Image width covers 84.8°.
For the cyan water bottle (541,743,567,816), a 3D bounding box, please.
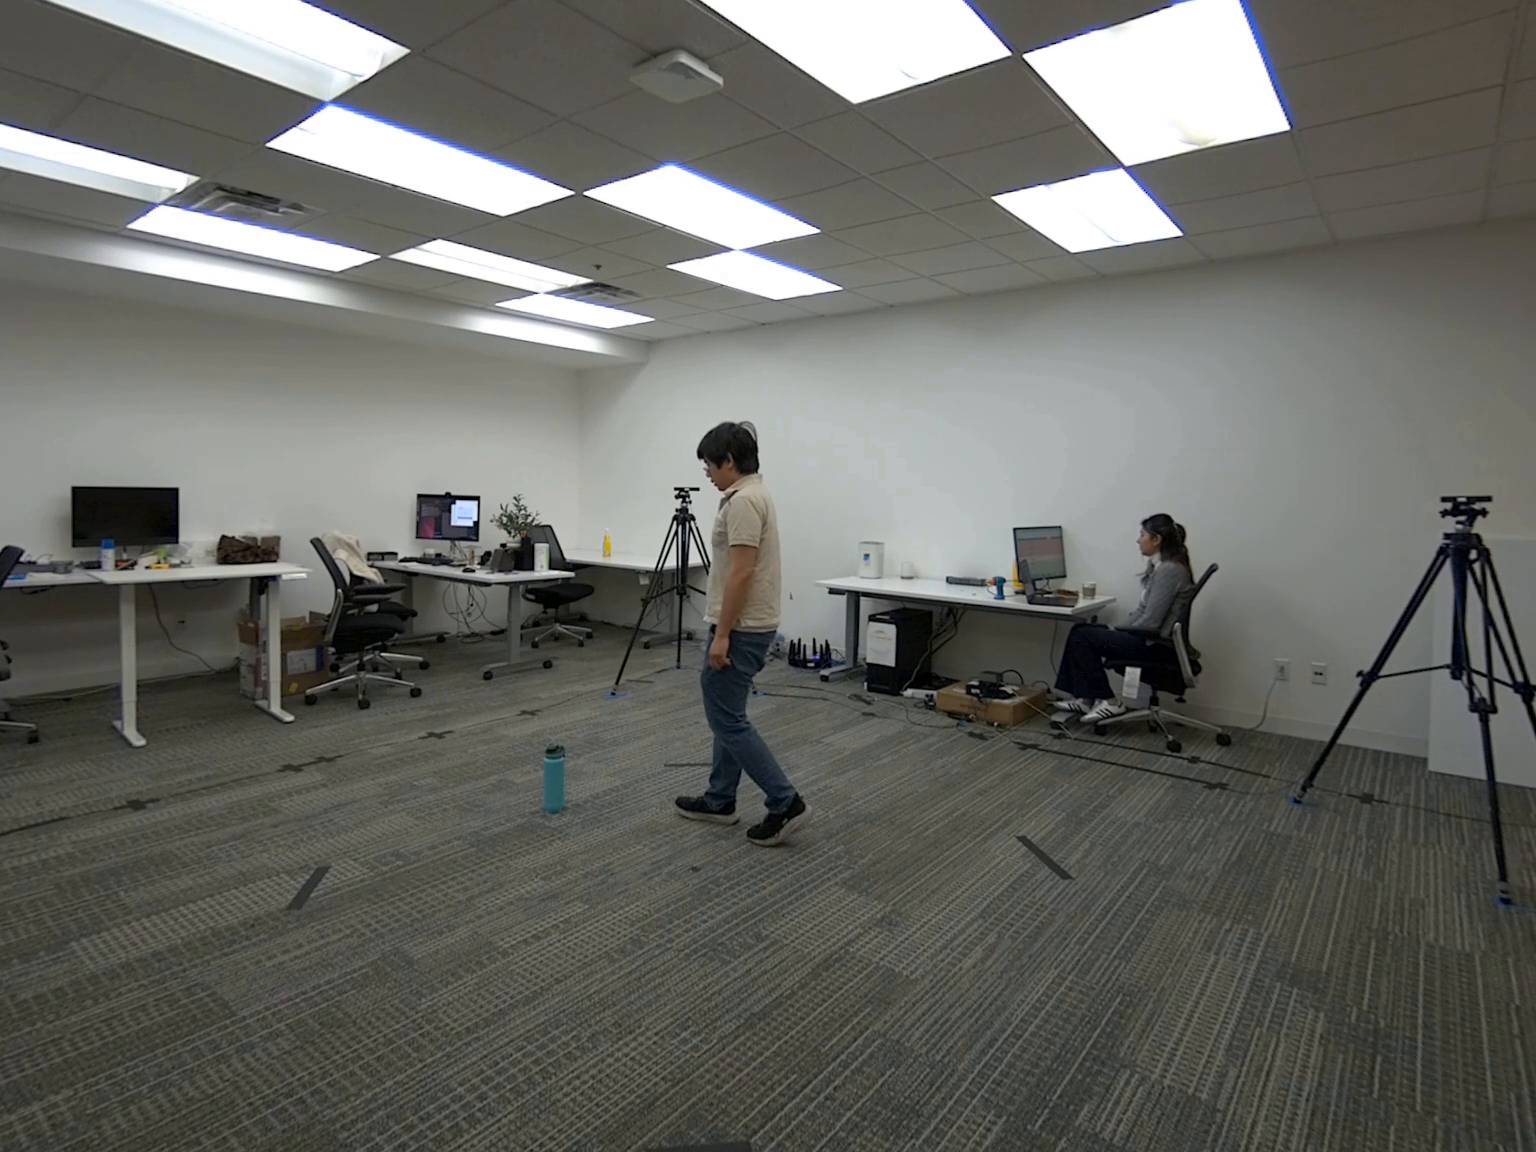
[{"bbox_3d":[-0.939,0.861,3.683,0.092,0.283,0.092,1,2,-2],"label":"cyan water bottle"}]
